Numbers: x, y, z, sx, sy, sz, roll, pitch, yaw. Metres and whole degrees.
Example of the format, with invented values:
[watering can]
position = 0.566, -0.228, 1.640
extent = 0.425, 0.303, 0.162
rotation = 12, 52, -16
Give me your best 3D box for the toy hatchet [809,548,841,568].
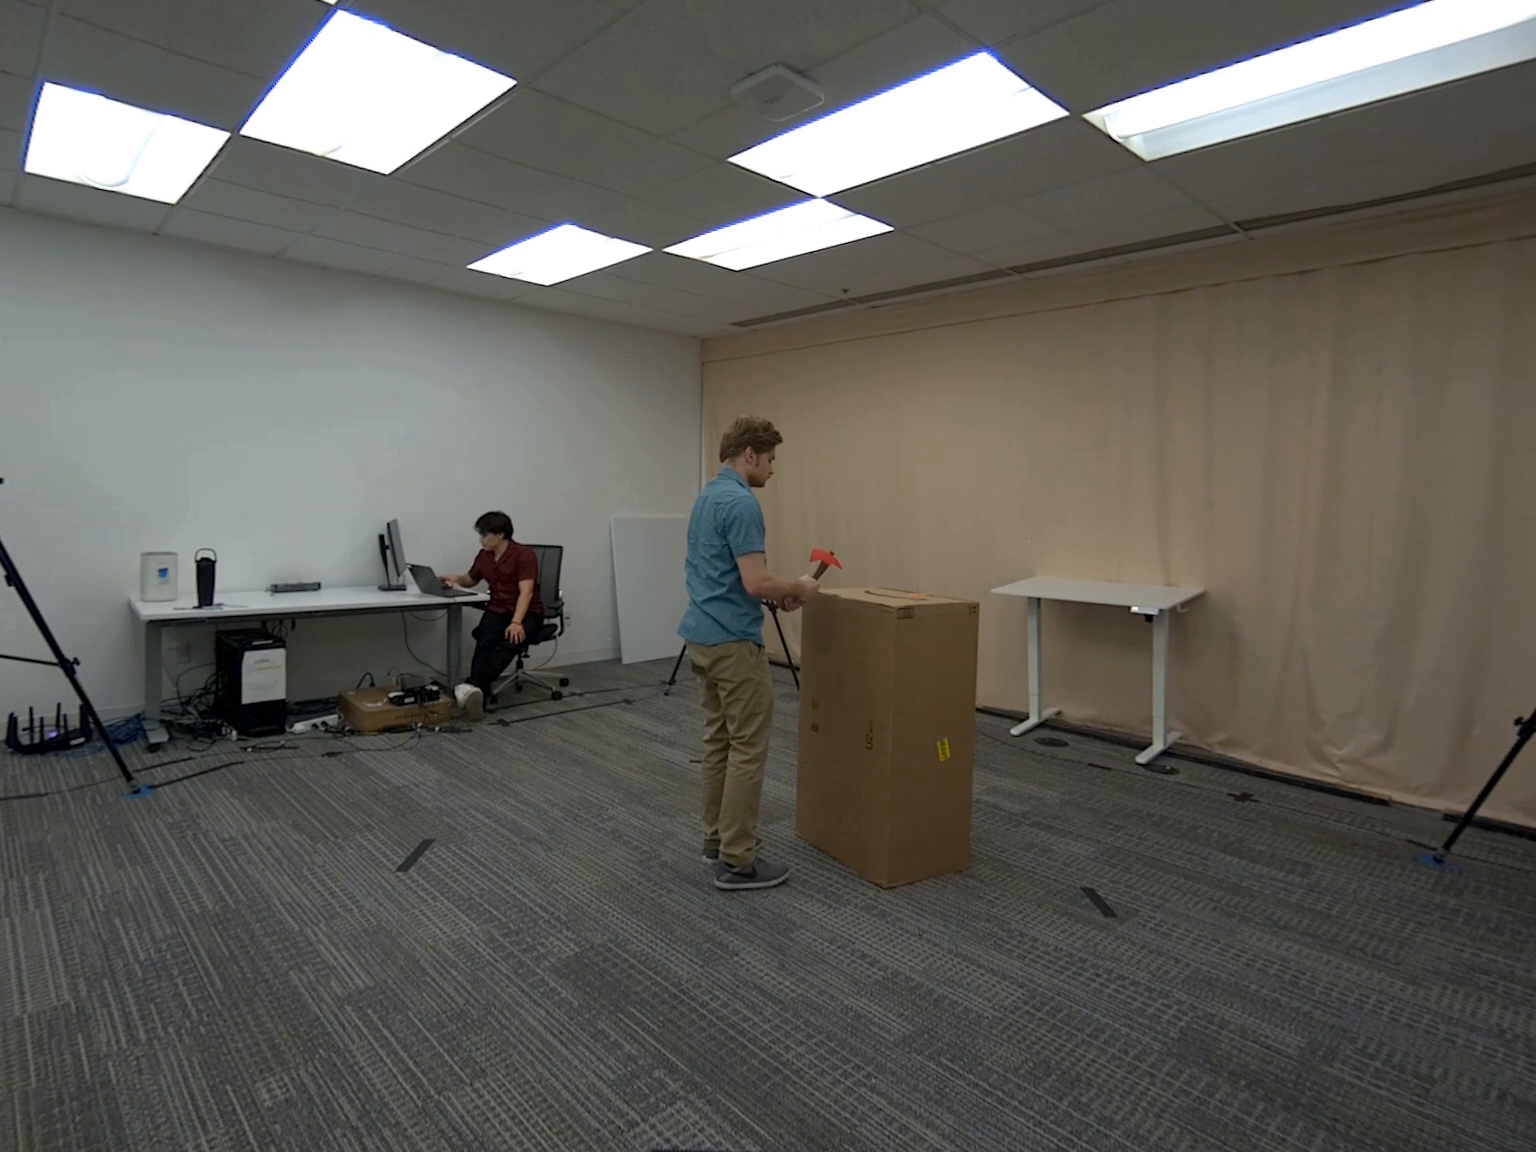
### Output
[toy hatchet]
position = 0.133, -0.017, 3.211
extent = 0.269, 0.131, 0.030
rotation = -37, 3, -9
